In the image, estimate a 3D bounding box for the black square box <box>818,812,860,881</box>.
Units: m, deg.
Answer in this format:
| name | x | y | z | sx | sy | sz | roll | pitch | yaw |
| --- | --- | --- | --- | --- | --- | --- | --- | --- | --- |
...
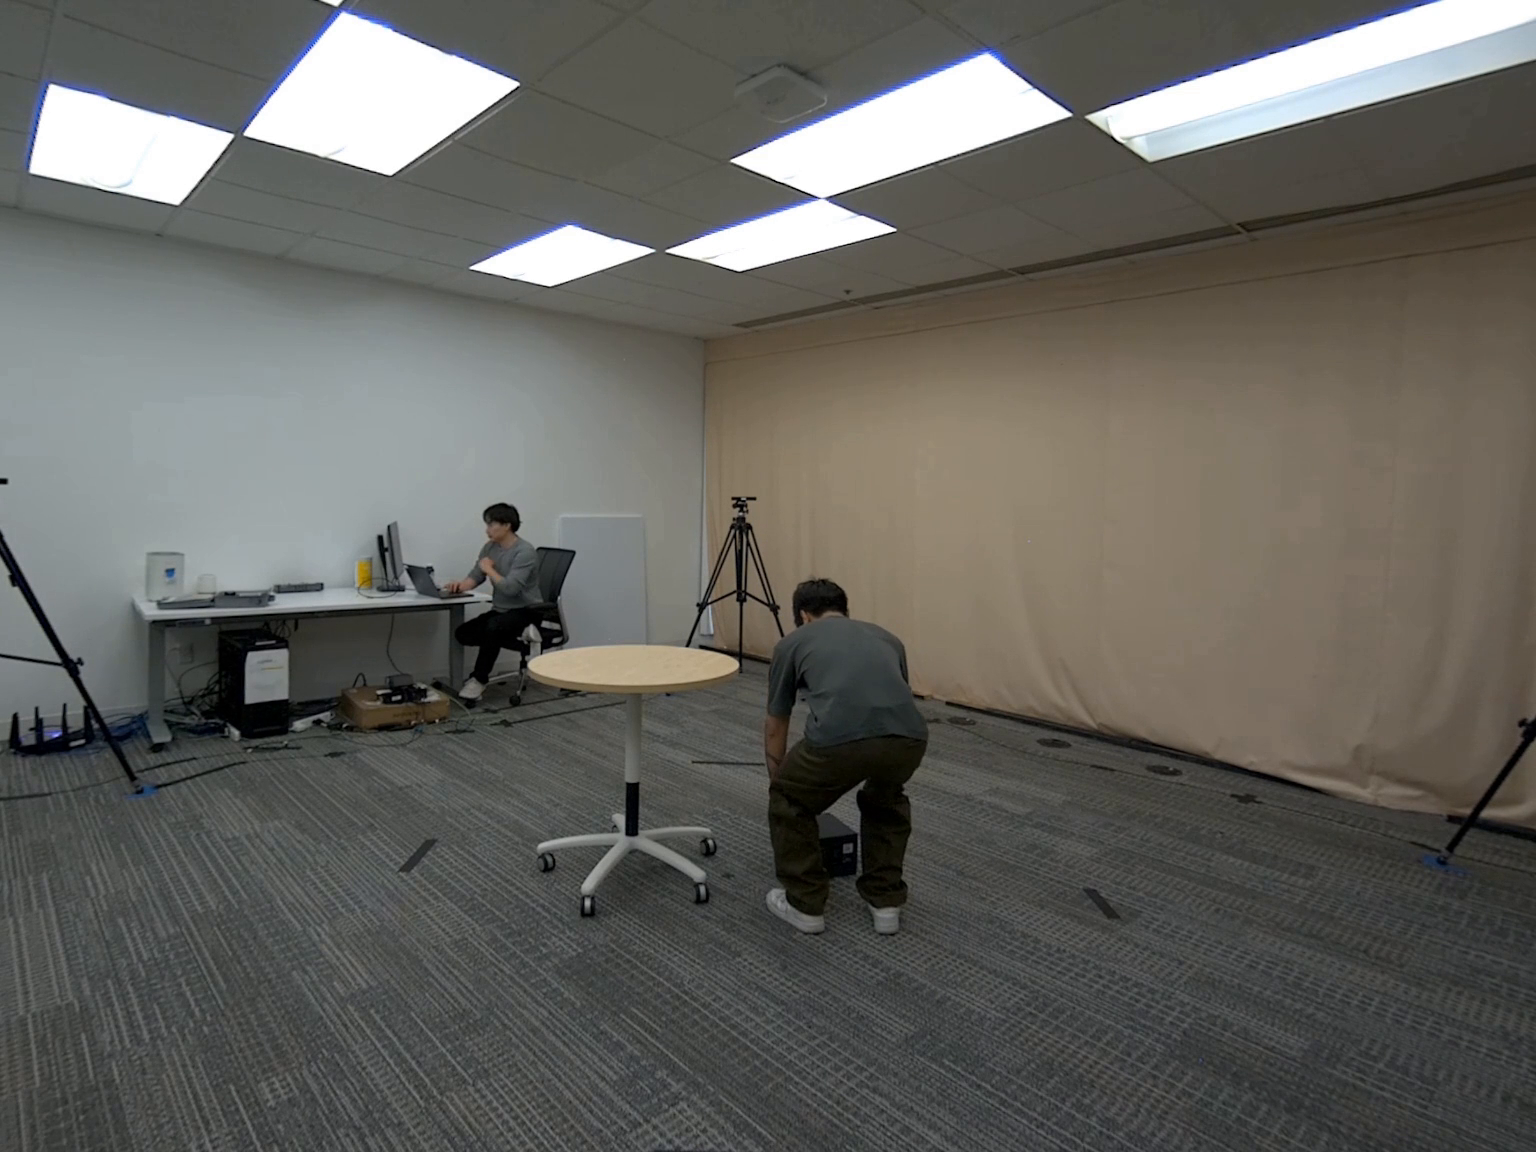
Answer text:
| name | x | y | z | sx | sy | sz | roll | pitch | yaw |
| --- | --- | --- | --- | --- | --- | --- | --- | --- | --- |
| black square box | 0.190 | 1.023 | 3.202 | 0.213 | 0.155 | 0.232 | -1 | 4 | -23 |
